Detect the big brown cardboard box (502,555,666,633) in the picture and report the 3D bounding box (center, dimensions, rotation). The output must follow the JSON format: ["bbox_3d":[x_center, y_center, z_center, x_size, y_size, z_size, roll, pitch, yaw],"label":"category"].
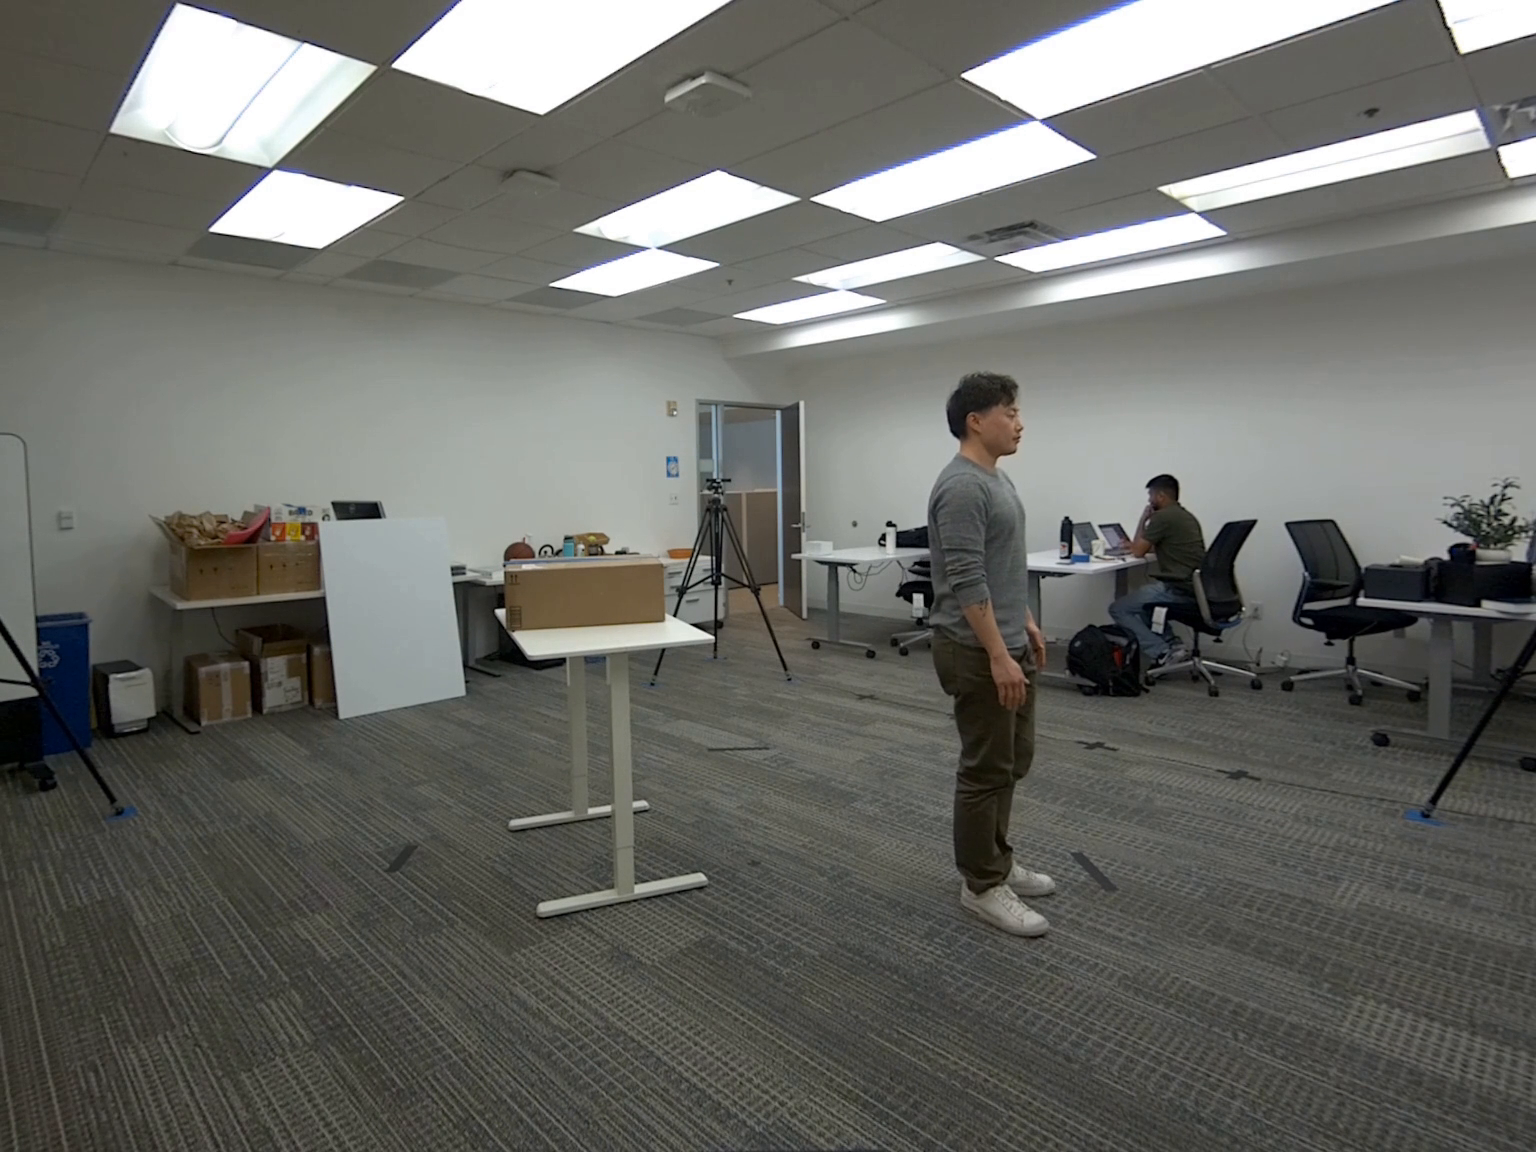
[{"bbox_3d":[-0.694,0.047,3.241,0.582,0.232,0.424,-2,6,-12],"label":"big brown cardboard box"}]
